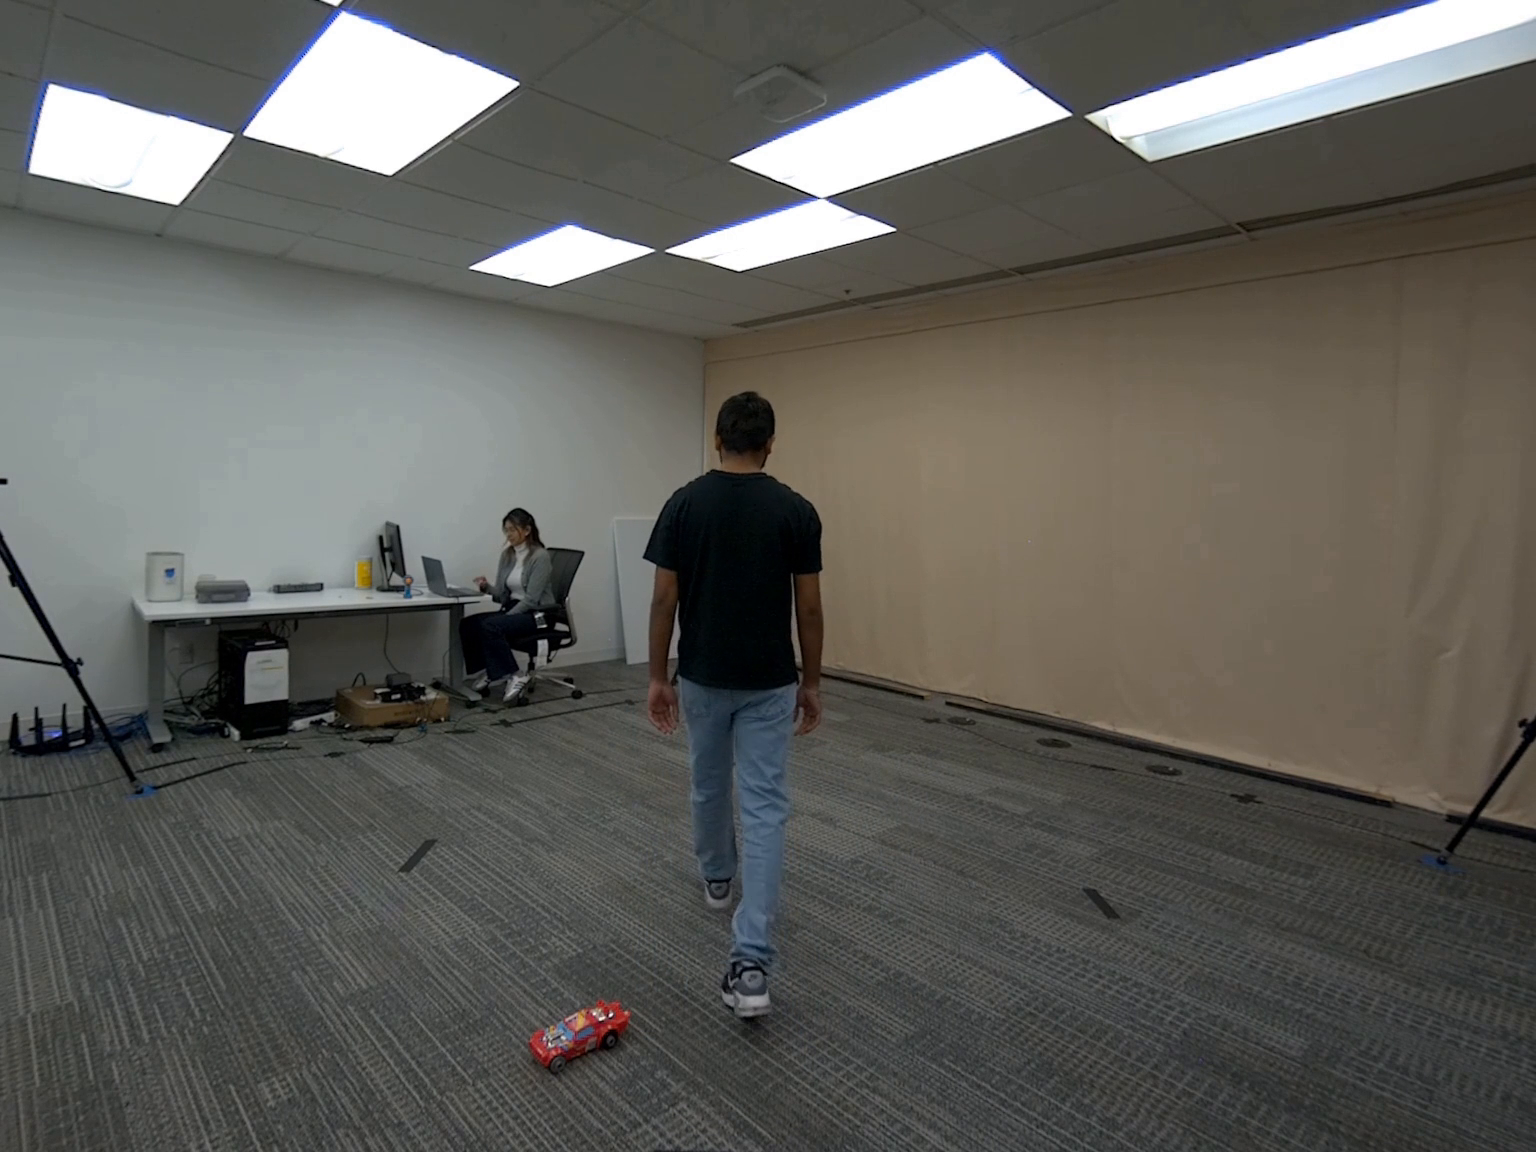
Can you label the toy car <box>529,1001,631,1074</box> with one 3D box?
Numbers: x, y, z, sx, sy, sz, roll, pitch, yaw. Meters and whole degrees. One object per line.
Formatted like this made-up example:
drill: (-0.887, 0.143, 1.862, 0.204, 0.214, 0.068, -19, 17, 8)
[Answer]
toy car: (-0.481, 1.164, 2.113, 0.250, 0.082, 0.133, -16, 14, -38)
